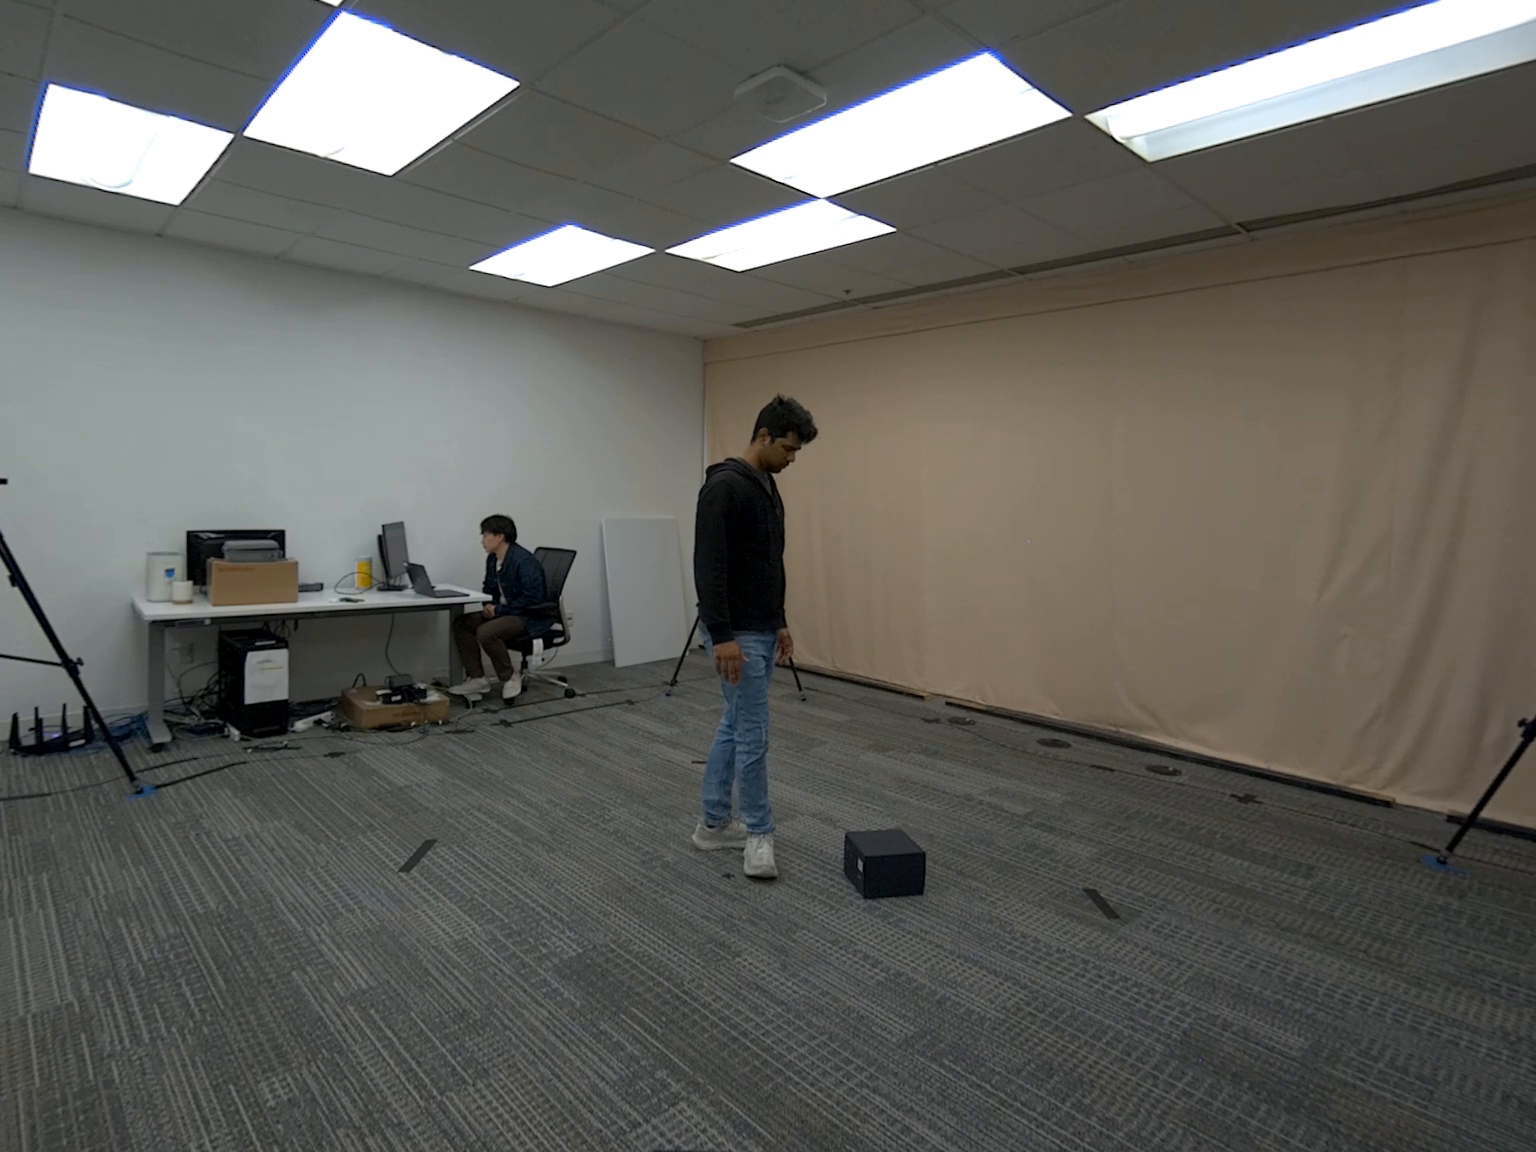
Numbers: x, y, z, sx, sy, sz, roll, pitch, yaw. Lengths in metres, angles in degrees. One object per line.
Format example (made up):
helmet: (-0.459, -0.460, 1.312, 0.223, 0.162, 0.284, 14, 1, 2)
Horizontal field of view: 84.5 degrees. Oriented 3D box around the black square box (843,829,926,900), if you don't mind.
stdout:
black square box: (0.410, 1.037, 3.063, 0.225, 0.155, 0.220, 1, 4, -14)
